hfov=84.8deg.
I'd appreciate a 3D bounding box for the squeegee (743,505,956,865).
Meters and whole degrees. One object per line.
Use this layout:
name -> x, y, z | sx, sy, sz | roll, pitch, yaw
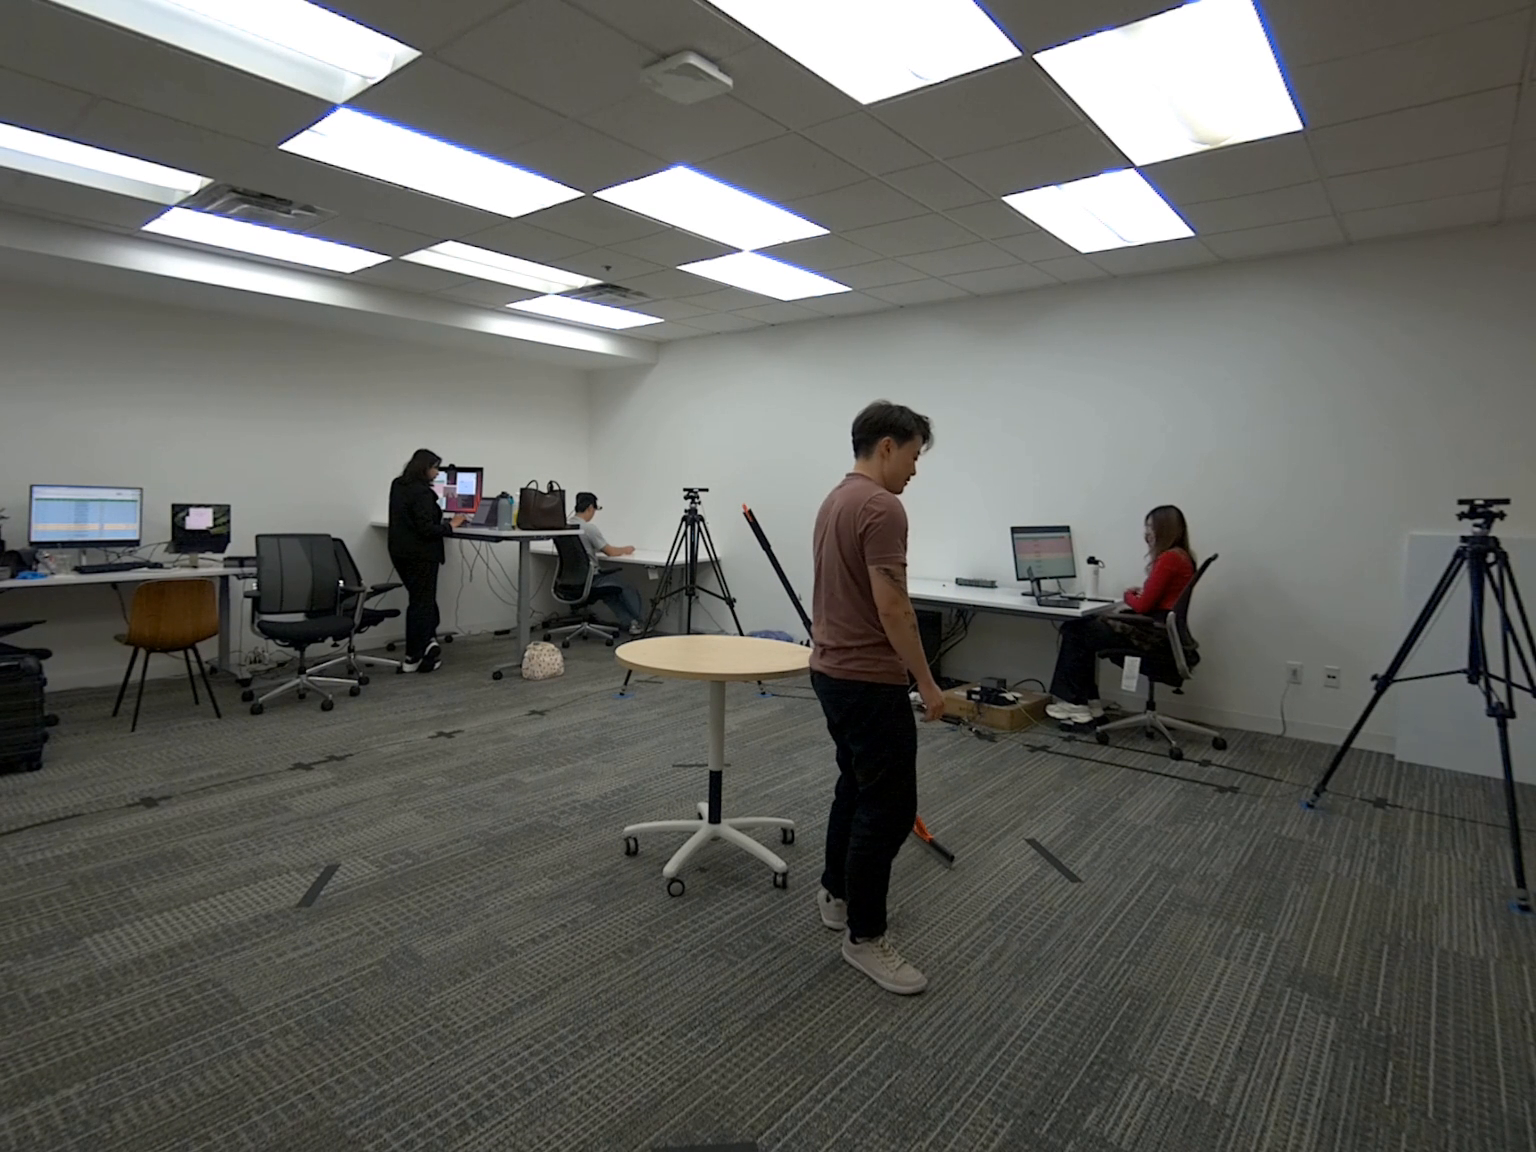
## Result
squeegee -> 0.271, 0.380, 3.245 | 0.053, 1.518, 0.445 | -29, 9, -11
